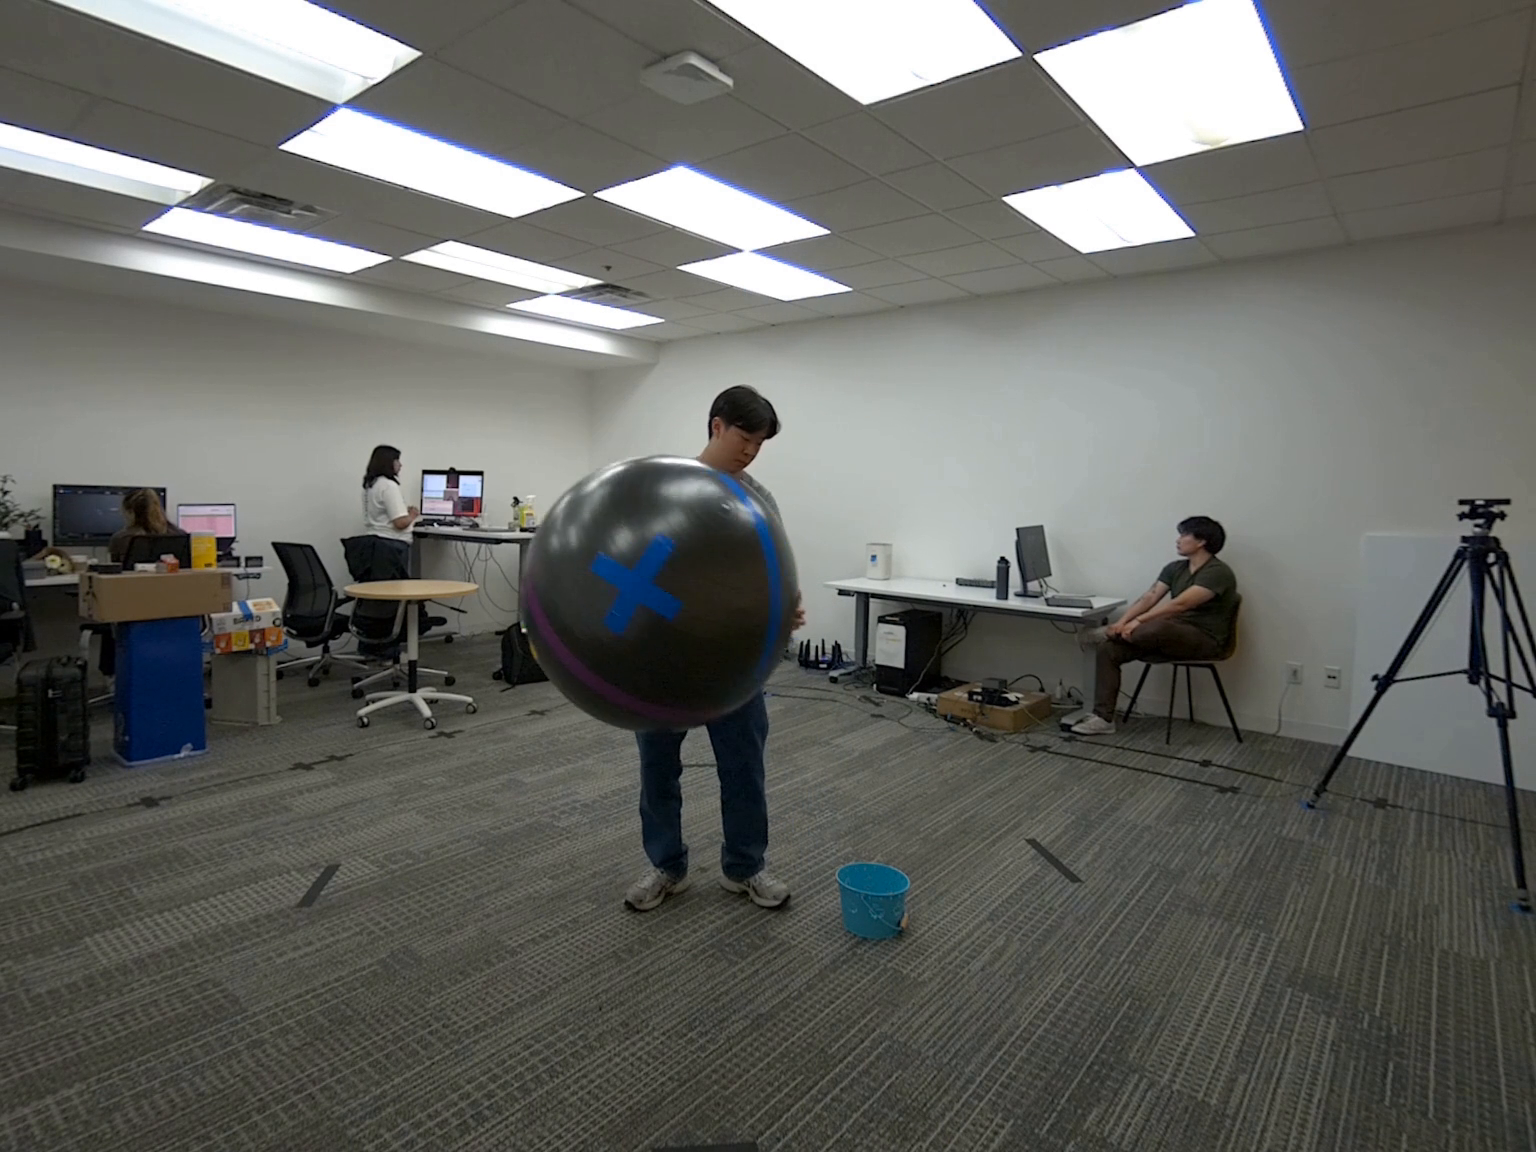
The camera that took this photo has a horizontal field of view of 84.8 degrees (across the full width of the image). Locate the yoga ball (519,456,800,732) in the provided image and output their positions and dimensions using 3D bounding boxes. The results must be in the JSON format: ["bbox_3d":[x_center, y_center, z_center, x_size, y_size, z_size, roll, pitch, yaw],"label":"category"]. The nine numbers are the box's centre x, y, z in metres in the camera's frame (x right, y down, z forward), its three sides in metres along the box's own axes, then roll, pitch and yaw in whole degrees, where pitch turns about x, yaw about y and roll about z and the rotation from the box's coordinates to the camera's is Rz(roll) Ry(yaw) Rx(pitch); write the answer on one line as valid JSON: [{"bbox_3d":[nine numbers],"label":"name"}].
[{"bbox_3d":[-0.298,0.042,2.356,0.757,0.756,0.761,1,4,-2],"label":"yoga ball"}]
